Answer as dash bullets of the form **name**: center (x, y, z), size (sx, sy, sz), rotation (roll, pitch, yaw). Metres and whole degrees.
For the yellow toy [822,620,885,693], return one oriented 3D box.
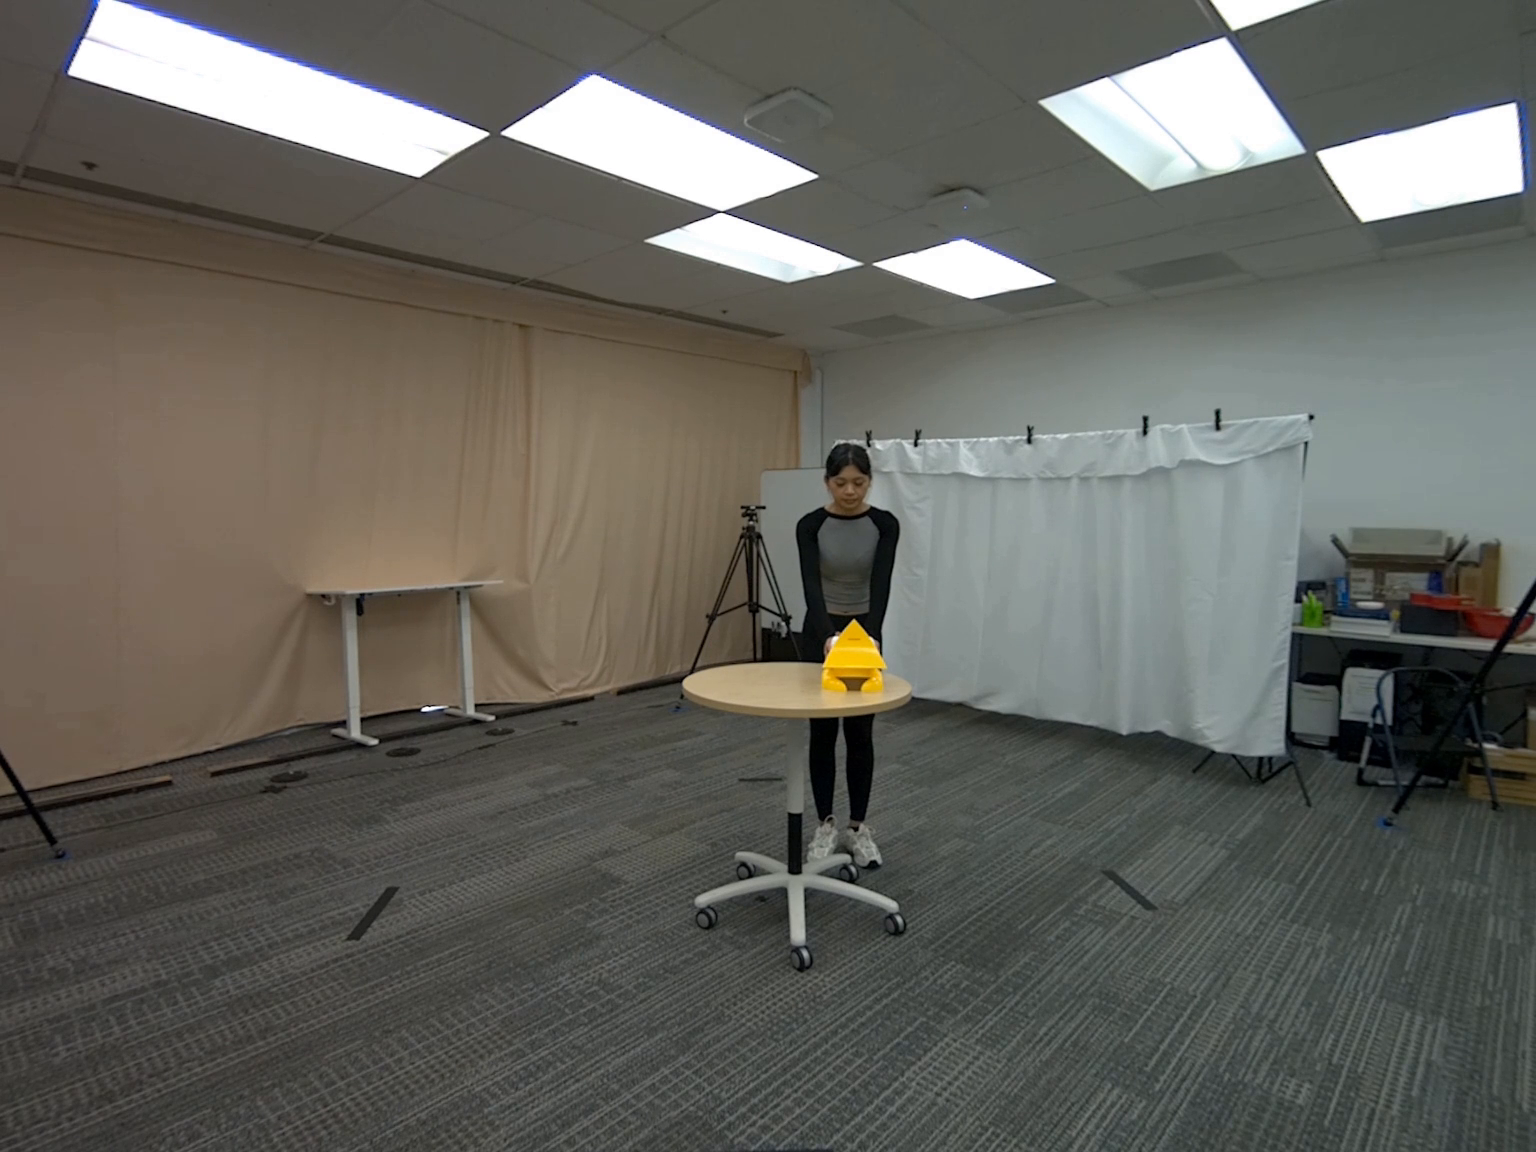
- **yellow toy**: center (0.278, 0.252, 2.779), size (0.206, 0.230, 0.193), rotation (1, 4, 3)
